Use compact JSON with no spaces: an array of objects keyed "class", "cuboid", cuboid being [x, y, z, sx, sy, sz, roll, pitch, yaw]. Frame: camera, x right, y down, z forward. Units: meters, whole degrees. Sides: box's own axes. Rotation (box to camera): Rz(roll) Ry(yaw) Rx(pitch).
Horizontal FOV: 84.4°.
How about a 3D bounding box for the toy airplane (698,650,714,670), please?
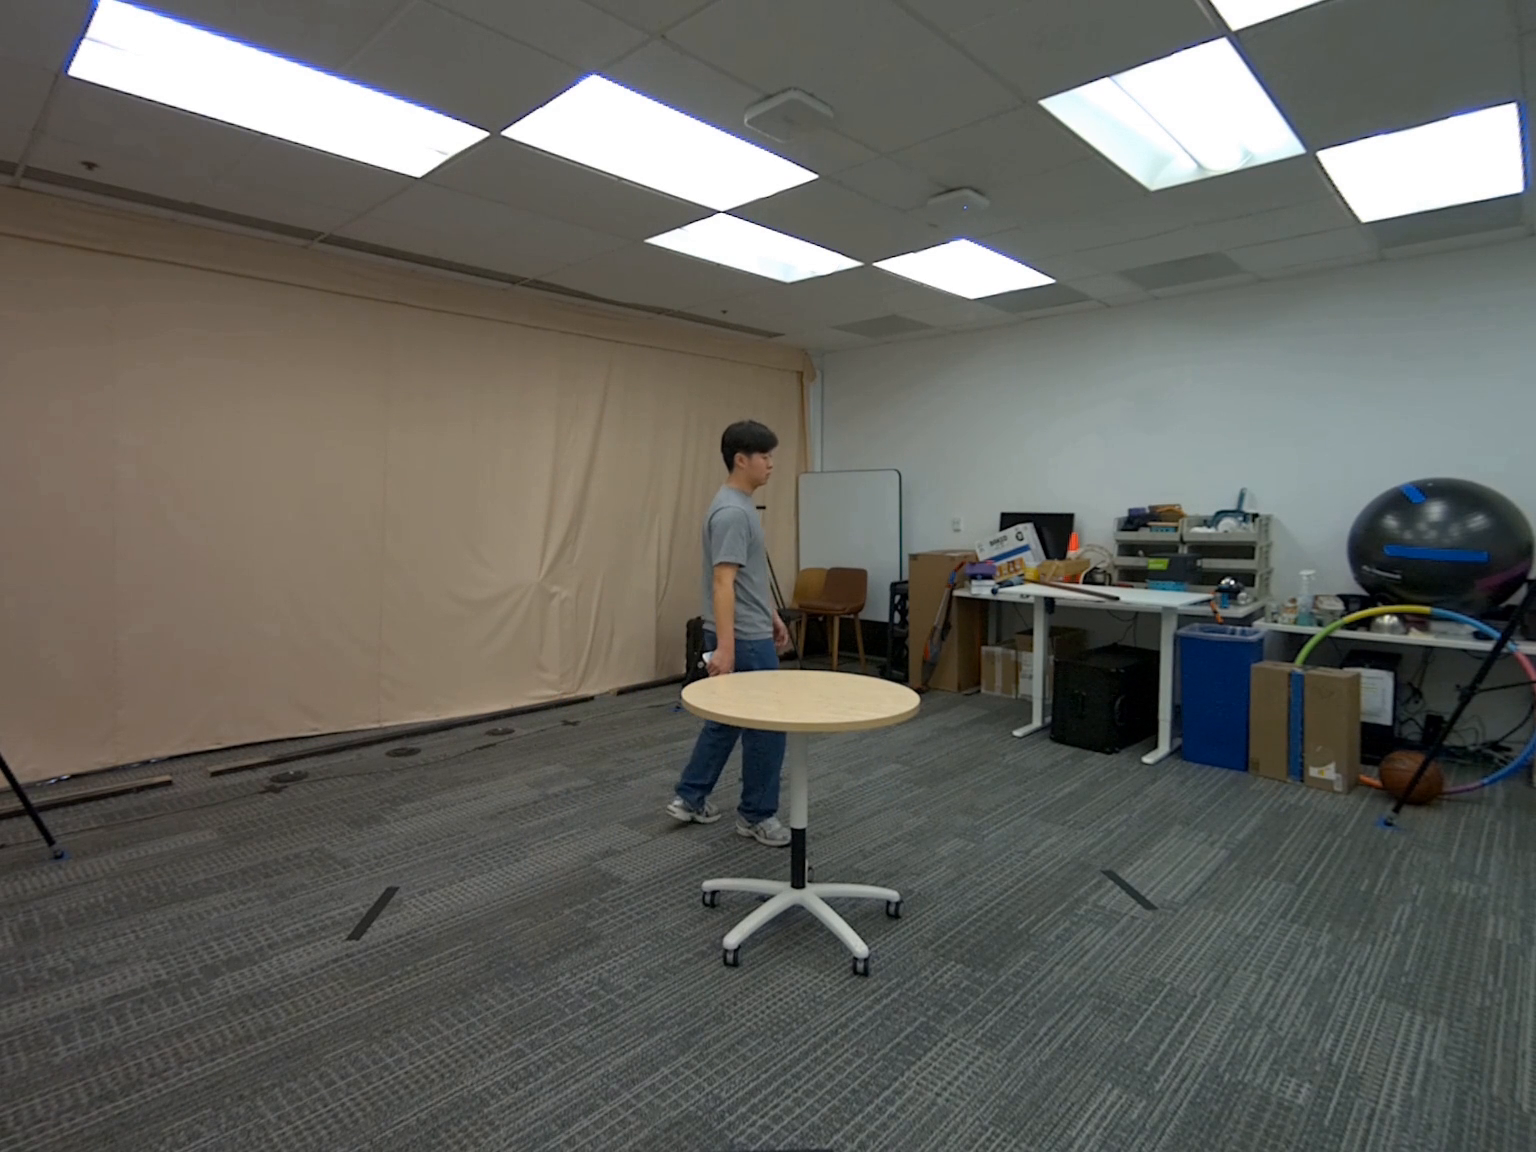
[{"class":"toy airplane","cuboid":[-0.176,0.415,3.257,0.159,0.255,0.251,-20,18,23]}]
